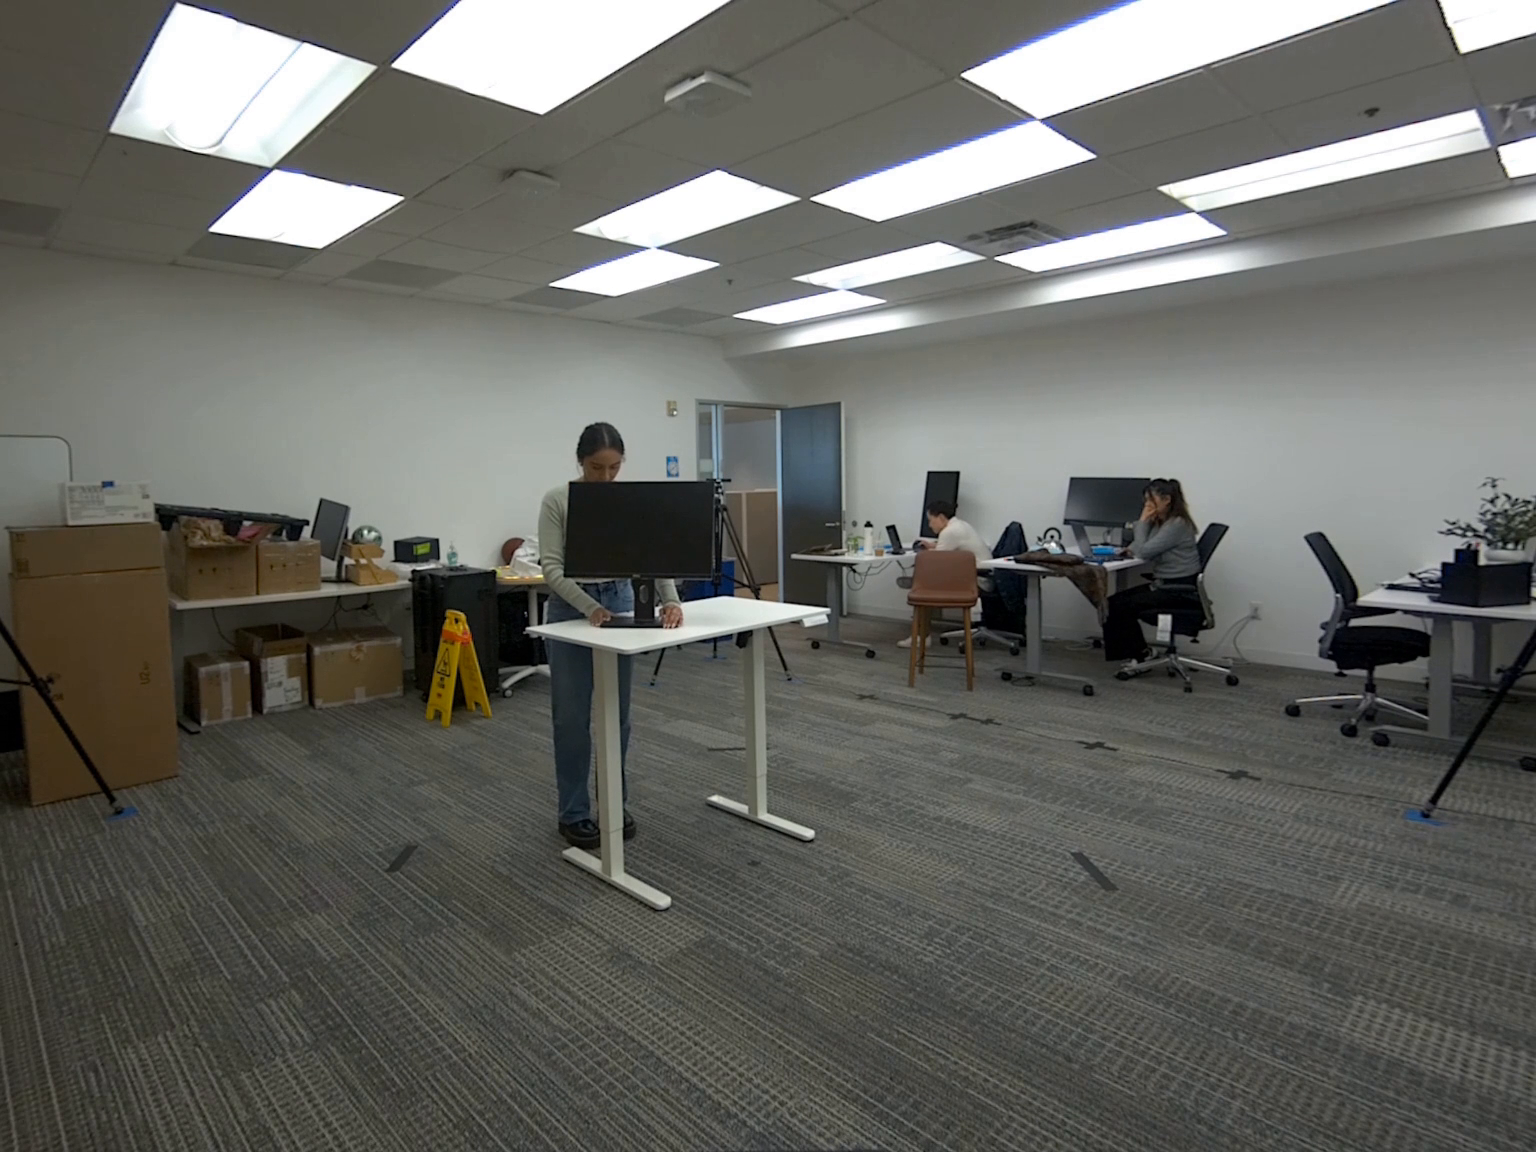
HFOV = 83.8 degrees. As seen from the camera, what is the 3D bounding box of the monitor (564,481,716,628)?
[{"bbox_3d":[-0.466,-0.082,3.071,0.534,0.512,0.174,0,7,7],"label":"monitor"}]
